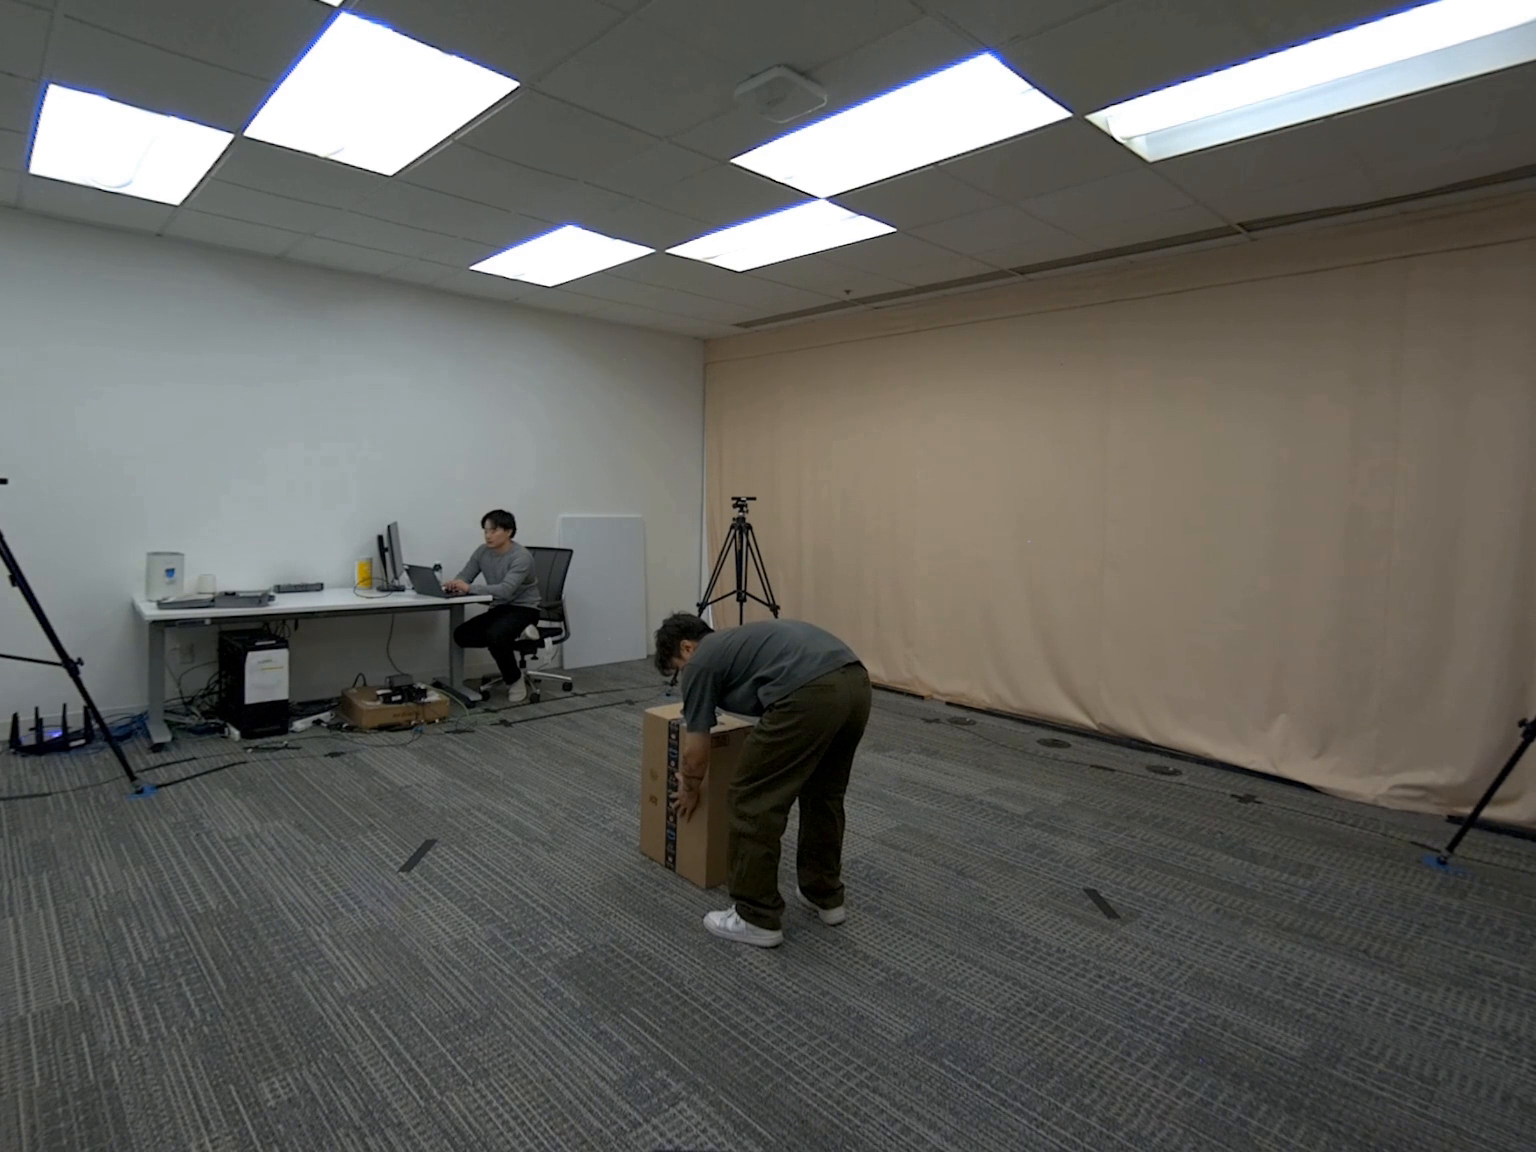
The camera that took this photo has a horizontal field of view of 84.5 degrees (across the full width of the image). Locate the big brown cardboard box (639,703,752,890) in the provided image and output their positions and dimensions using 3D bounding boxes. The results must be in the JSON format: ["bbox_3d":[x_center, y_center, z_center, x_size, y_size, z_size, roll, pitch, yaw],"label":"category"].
[{"bbox_3d":[-0.281,0.809,3.191,0.228,0.587,0.428,0,5,-42],"label":"big brown cardboard box"}]
